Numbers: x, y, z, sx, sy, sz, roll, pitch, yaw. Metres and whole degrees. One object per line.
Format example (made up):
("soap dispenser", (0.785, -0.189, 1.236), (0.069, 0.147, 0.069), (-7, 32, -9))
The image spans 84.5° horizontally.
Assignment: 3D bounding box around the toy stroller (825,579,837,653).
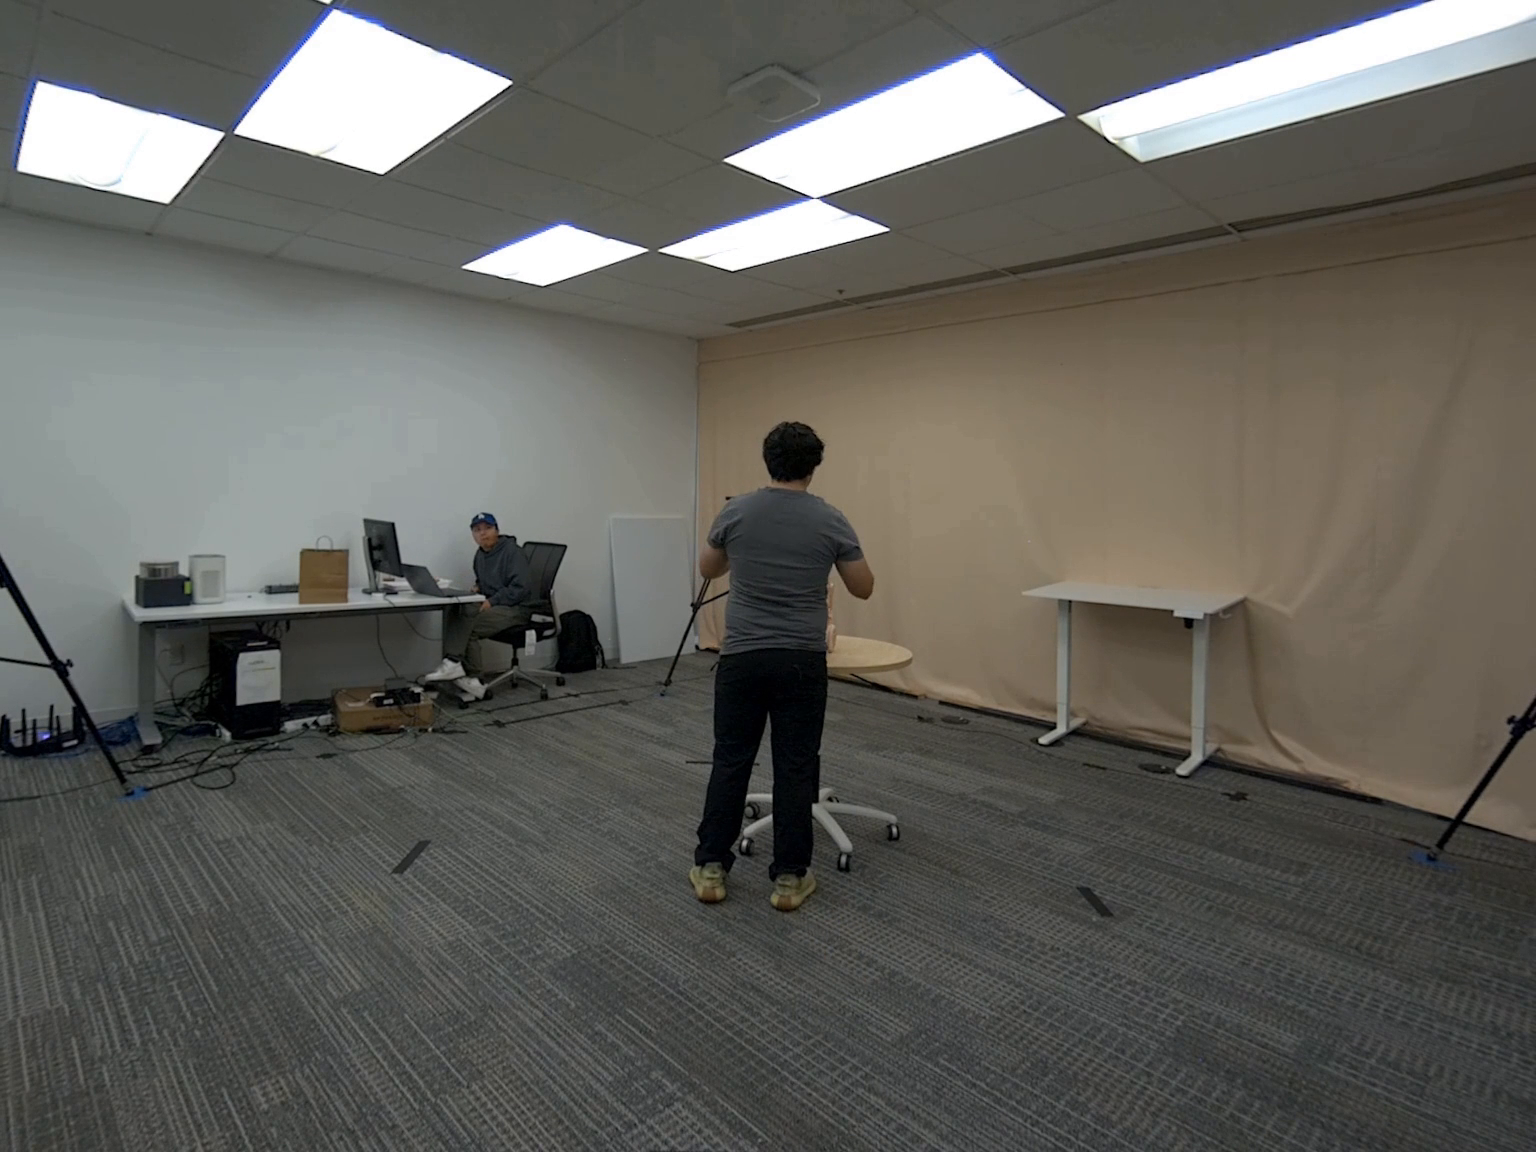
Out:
("toy stroller", (0.155, 0.075, 3.489), (0.286, 0.528, 0.341), (4, 19, 18))
